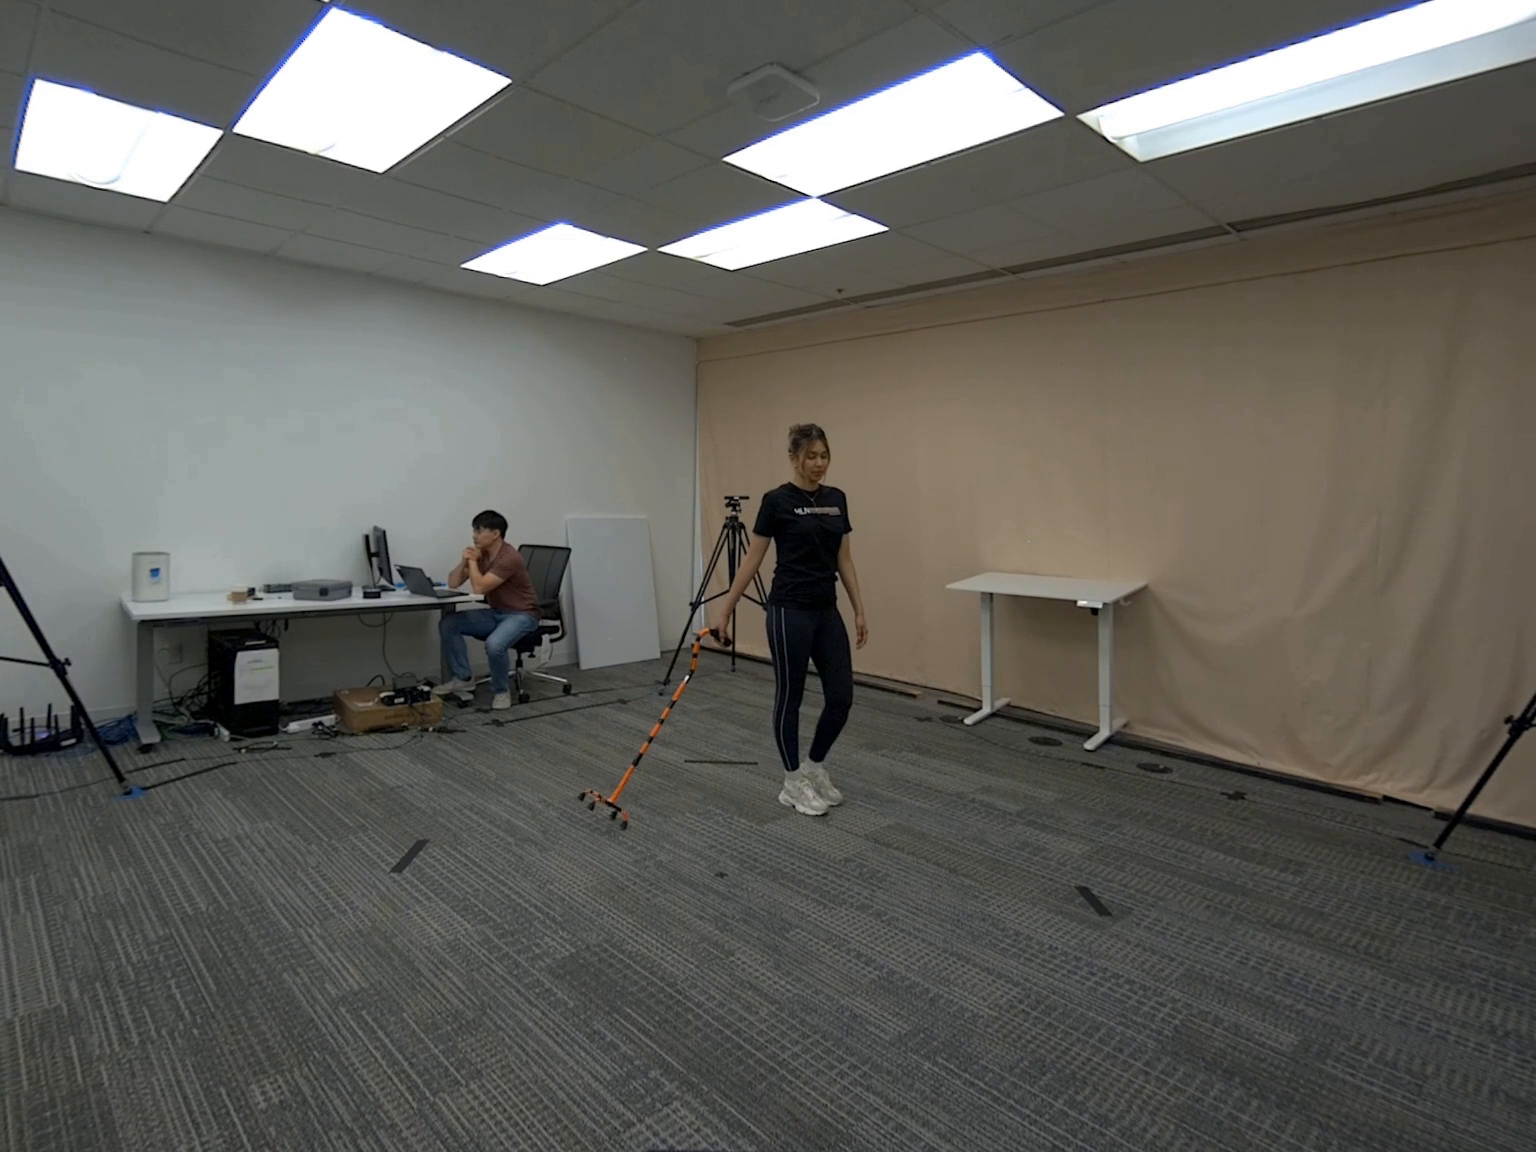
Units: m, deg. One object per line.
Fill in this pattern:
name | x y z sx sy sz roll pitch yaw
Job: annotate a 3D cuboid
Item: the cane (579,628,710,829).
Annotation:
cane | -0.480 0.622 3.622 0.201 0.910 0.155 38 -15 -26
